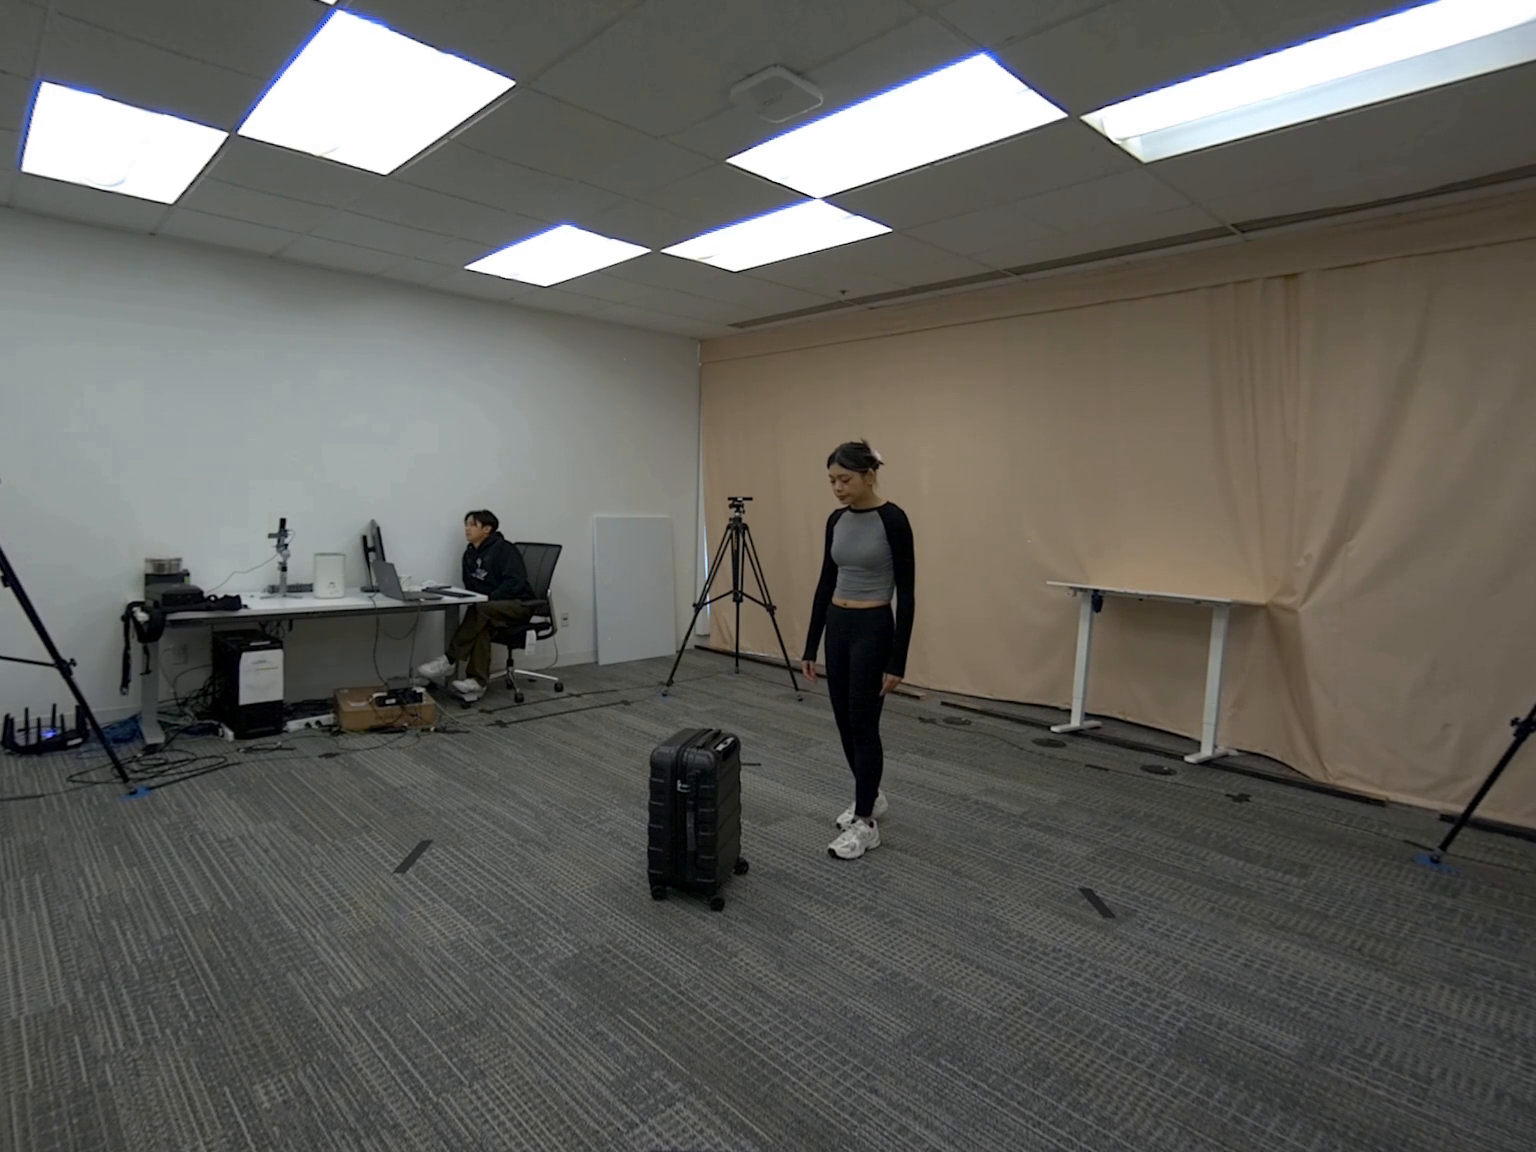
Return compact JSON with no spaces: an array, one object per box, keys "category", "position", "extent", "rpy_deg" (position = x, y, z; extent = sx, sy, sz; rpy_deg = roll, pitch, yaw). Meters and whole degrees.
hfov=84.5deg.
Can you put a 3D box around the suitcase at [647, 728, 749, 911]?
[{"category":"suitcase","position":[-0.263,0.839,3.005],"extent":[0.252,0.548,0.371],"rpy_deg":[1,4,18]}]
